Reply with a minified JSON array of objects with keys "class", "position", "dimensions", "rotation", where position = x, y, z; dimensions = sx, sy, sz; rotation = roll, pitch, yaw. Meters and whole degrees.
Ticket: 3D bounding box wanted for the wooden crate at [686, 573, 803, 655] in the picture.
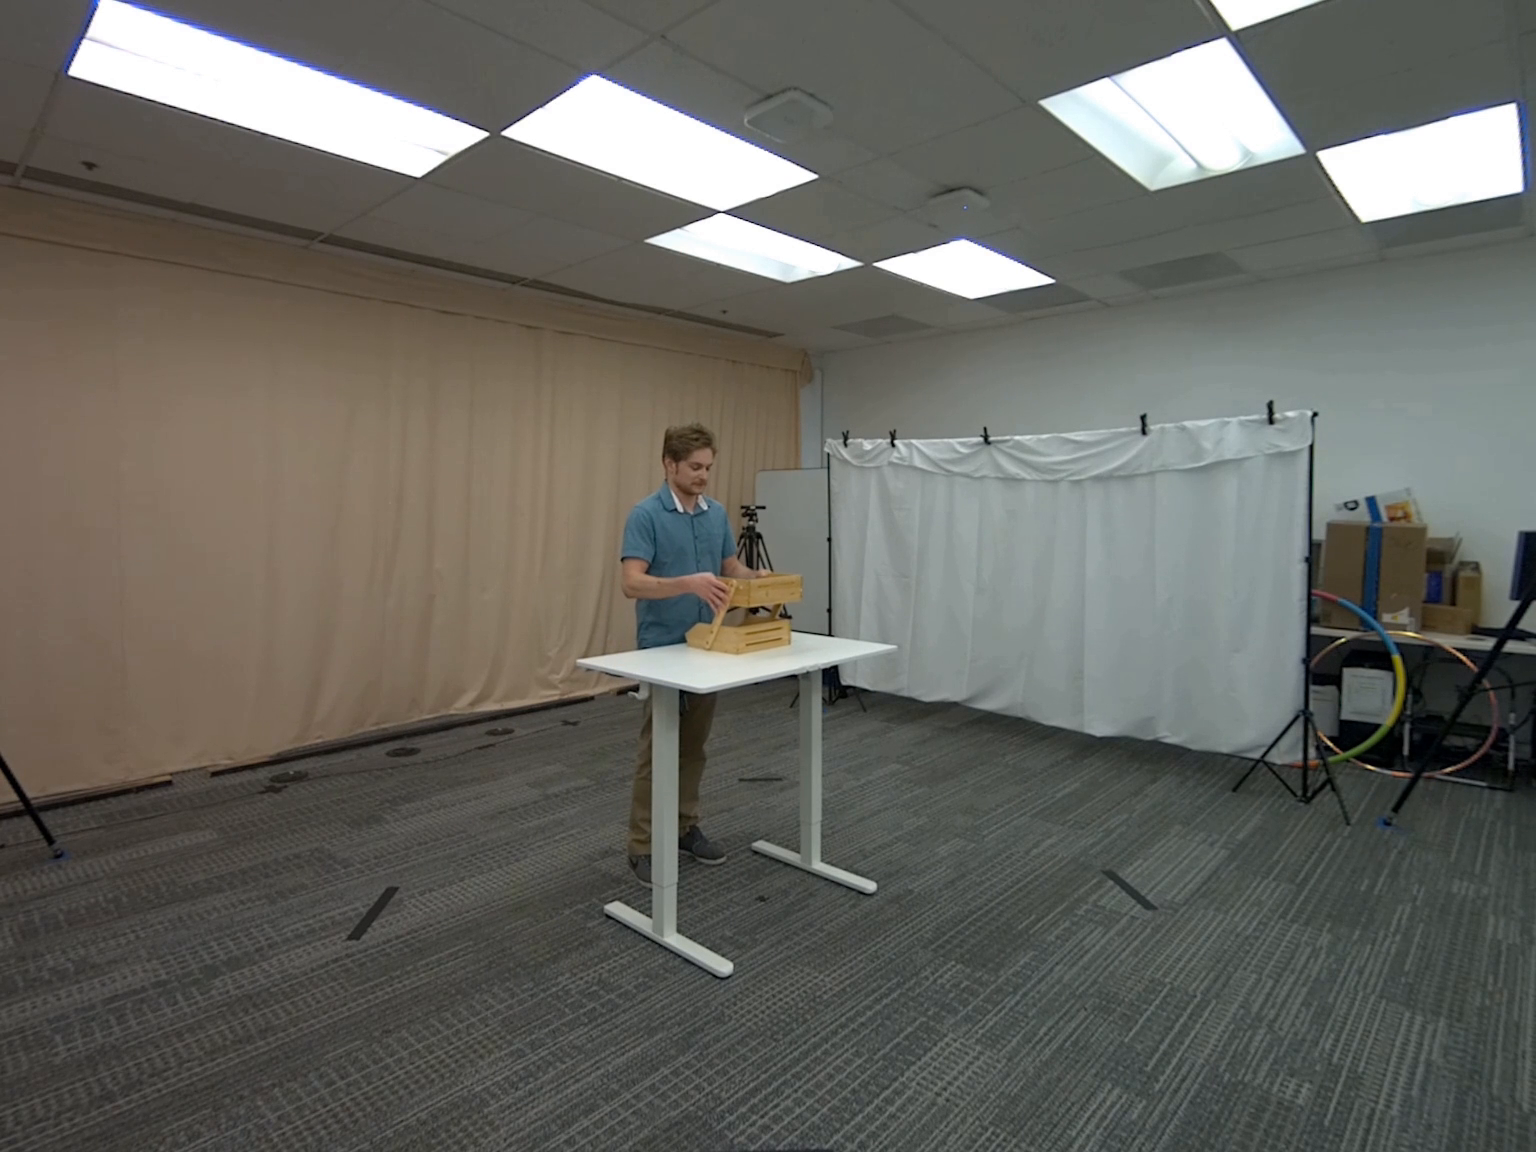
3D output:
[{"class":"wooden crate","position":[-0.084,0.124,3.048],"dimensions":[0.312,0.272,0.314],"rotation":[5,6,41]}]
